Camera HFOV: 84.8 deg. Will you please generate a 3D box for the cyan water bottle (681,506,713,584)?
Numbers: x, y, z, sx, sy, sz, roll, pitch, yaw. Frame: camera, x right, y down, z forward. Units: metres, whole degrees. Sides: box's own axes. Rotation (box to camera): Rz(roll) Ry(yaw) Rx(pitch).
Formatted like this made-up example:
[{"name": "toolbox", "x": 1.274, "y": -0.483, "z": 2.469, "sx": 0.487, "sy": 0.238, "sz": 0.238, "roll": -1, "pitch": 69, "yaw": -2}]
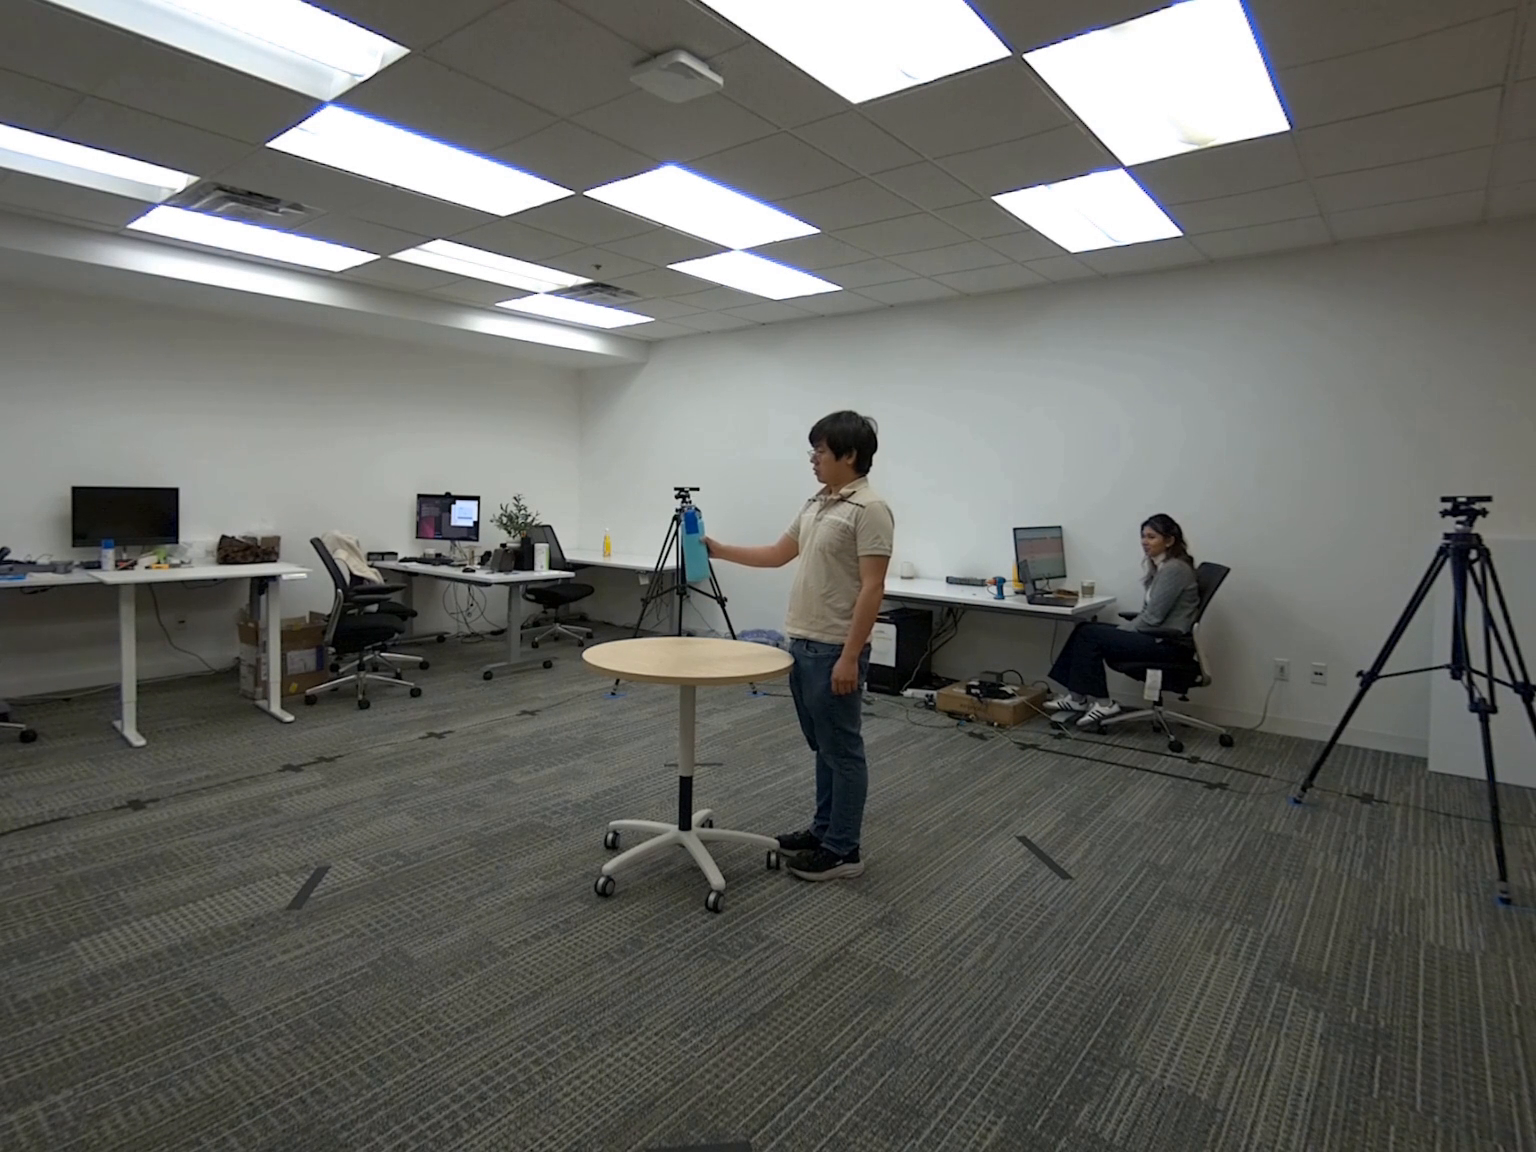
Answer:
[{"name": "cyan water bottle", "x": -0.287, "y": -0.137, "z": 3.190, "sx": 0.092, "sy": 0.282, "sz": 0.093, "roll": -6, "pitch": 4, "yaw": -1}]
